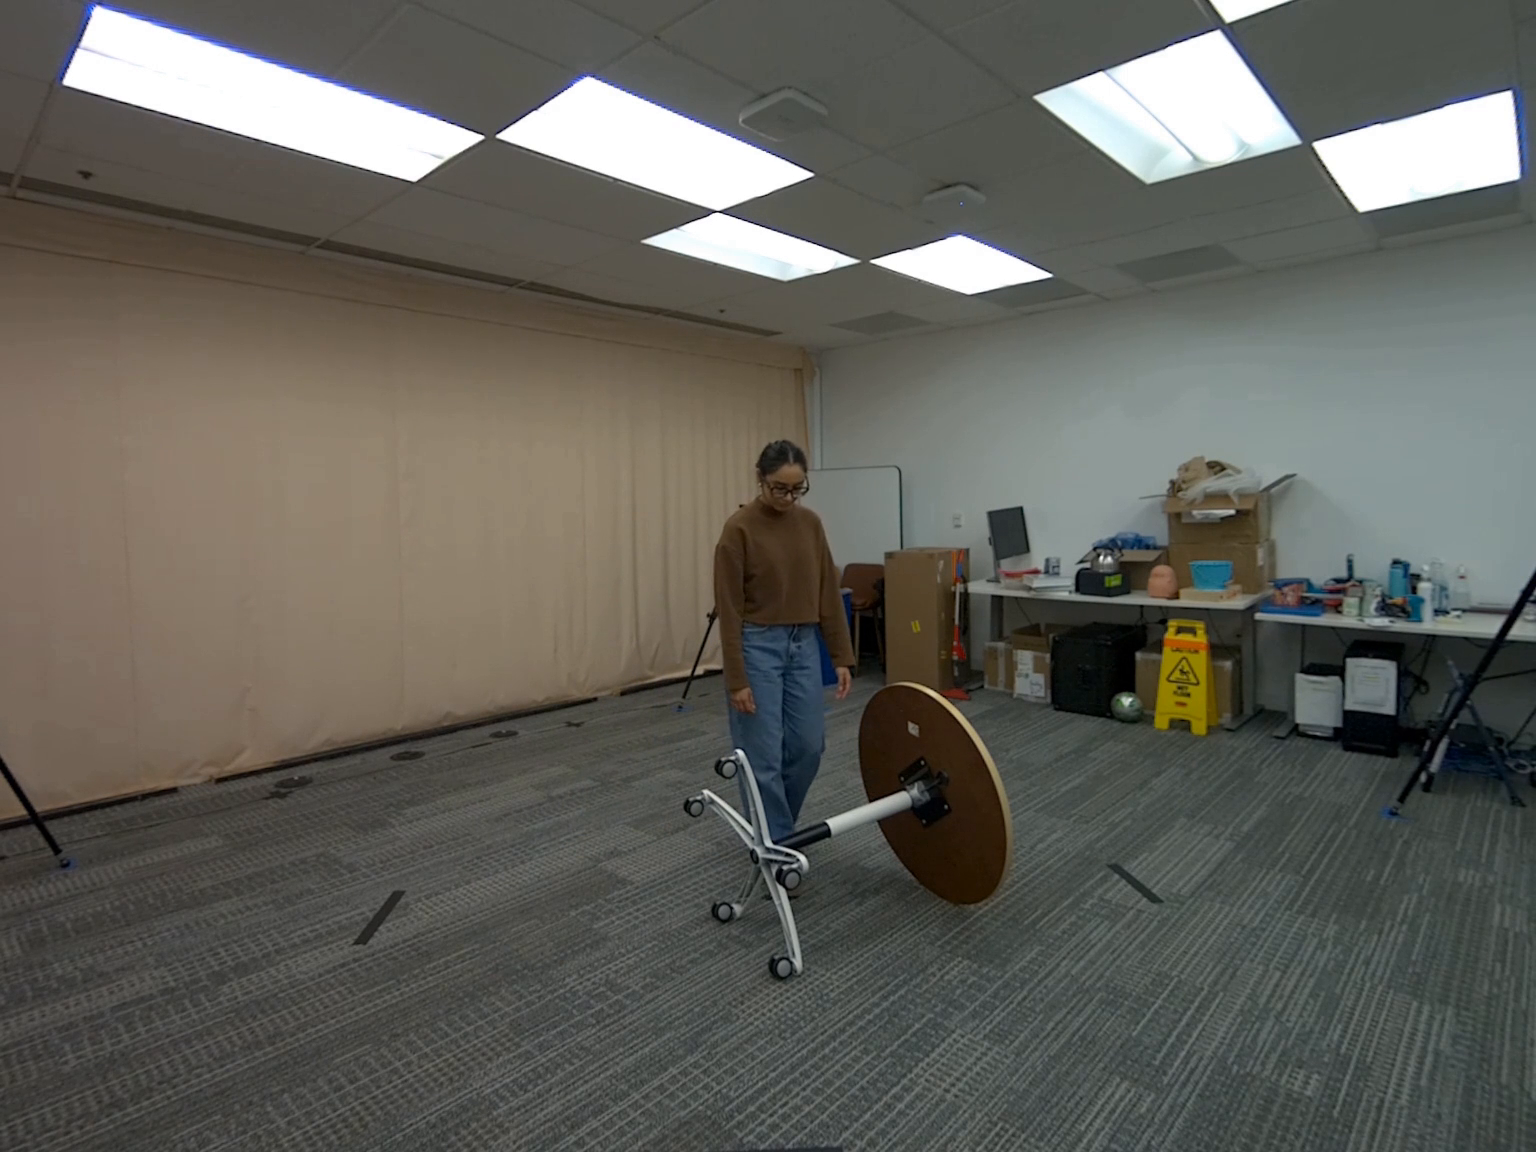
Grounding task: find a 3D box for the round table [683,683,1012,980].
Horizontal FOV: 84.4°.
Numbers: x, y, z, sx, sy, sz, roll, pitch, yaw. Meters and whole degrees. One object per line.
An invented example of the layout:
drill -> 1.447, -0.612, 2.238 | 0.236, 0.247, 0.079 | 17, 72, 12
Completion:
round table -> 0.234, 0.819, 2.771 | 0.776, 0.760, 0.785 | -11, 8, -27
